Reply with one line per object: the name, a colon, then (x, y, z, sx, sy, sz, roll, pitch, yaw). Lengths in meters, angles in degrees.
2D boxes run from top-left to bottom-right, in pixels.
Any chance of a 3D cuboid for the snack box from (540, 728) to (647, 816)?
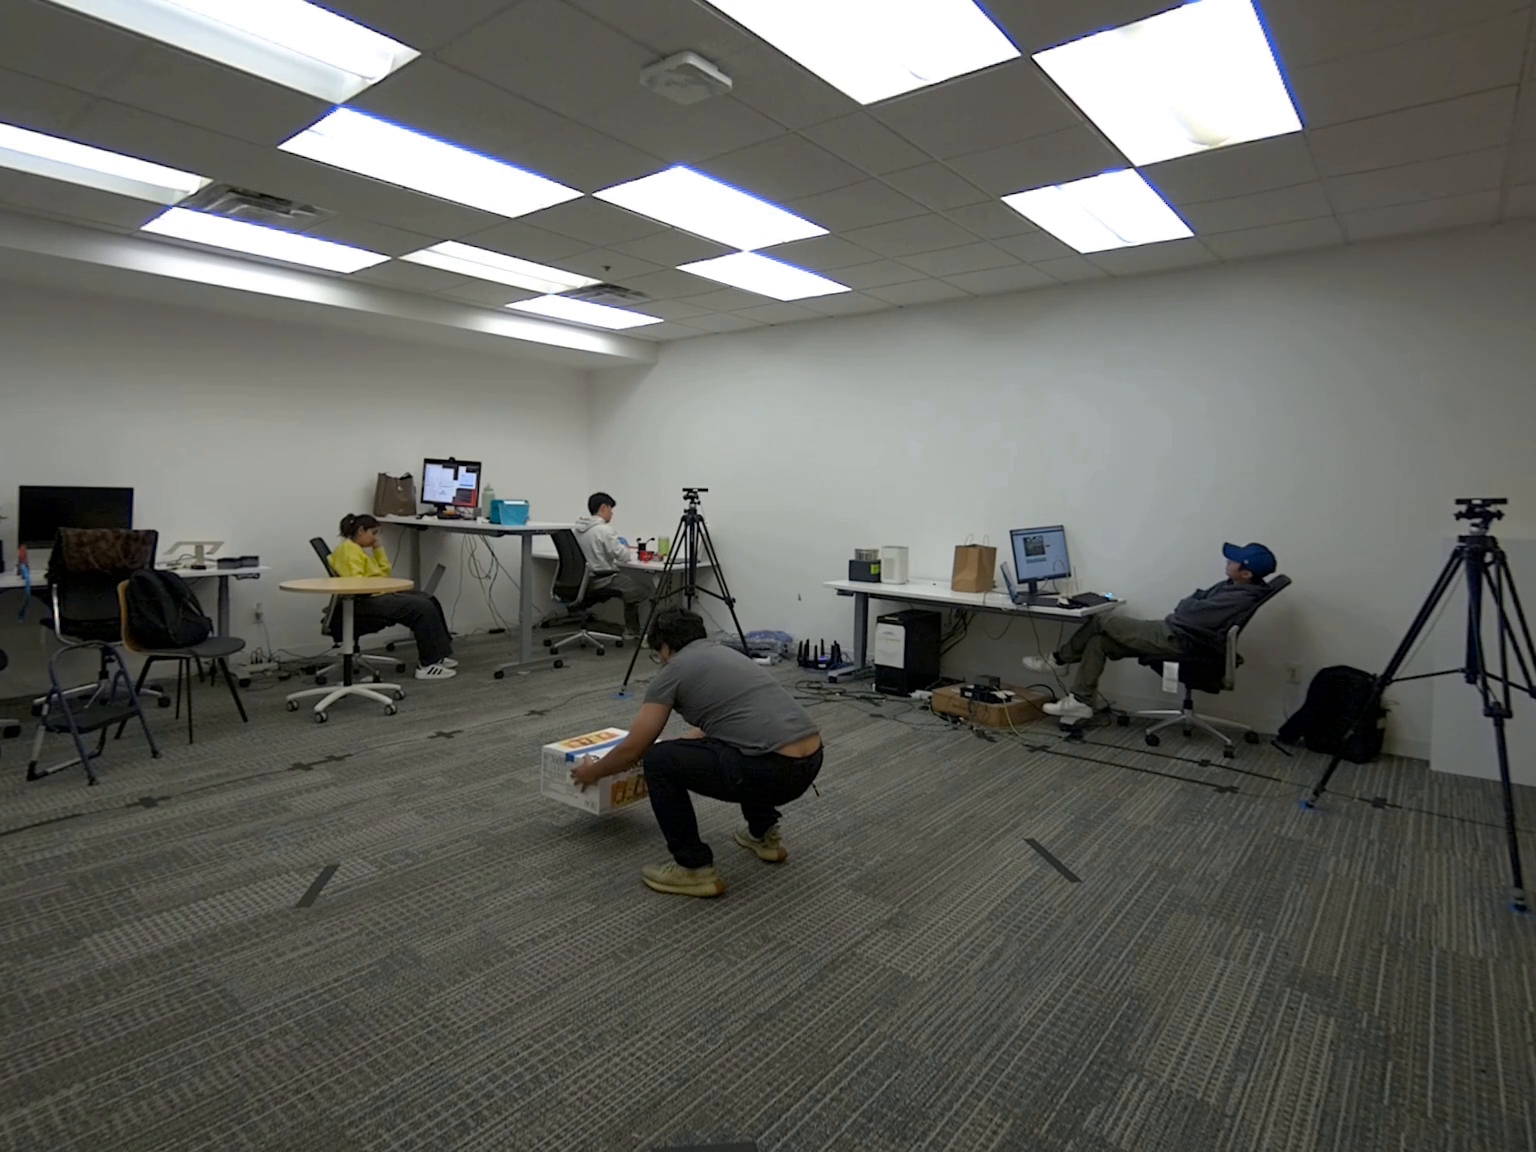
snack box: (-0.679, 0.788, 3.499, 0.351, 0.205, 0.393, 5, 5, 35)
